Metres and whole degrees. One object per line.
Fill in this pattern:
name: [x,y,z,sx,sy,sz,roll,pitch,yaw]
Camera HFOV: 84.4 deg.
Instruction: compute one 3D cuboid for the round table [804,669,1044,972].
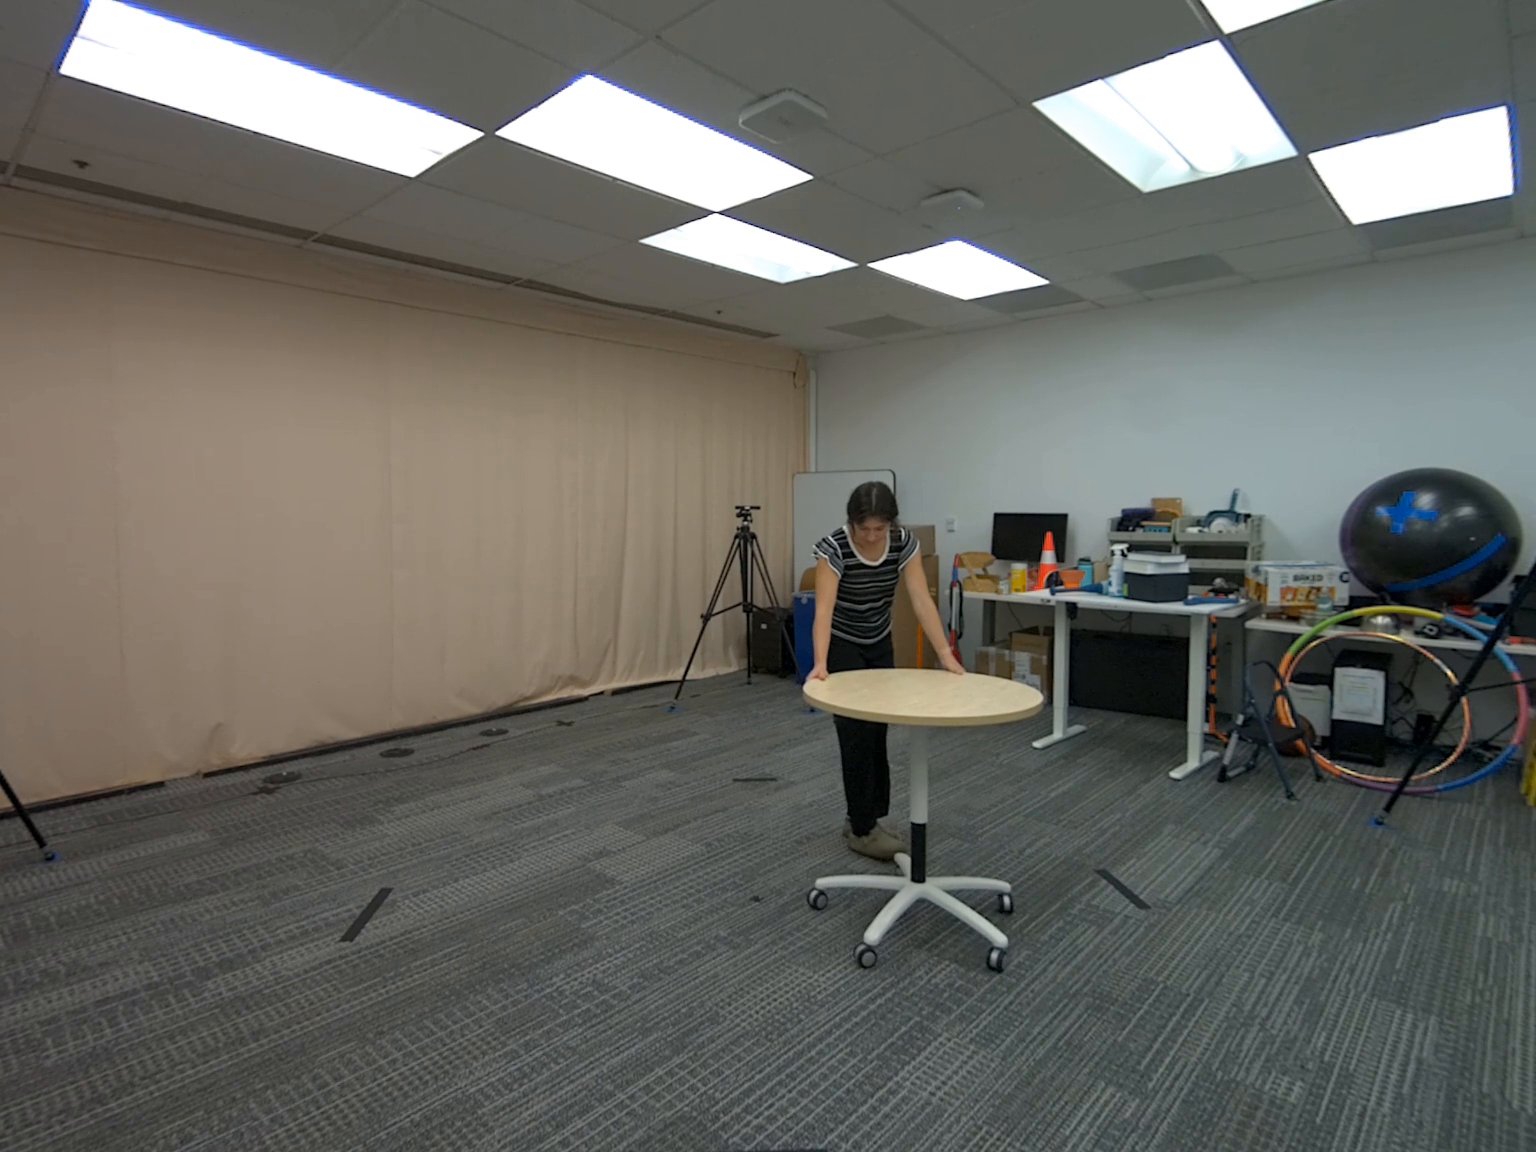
round table: [0.494,0.768,2.793,0.763,0.793,0.766,0,3,-2]
